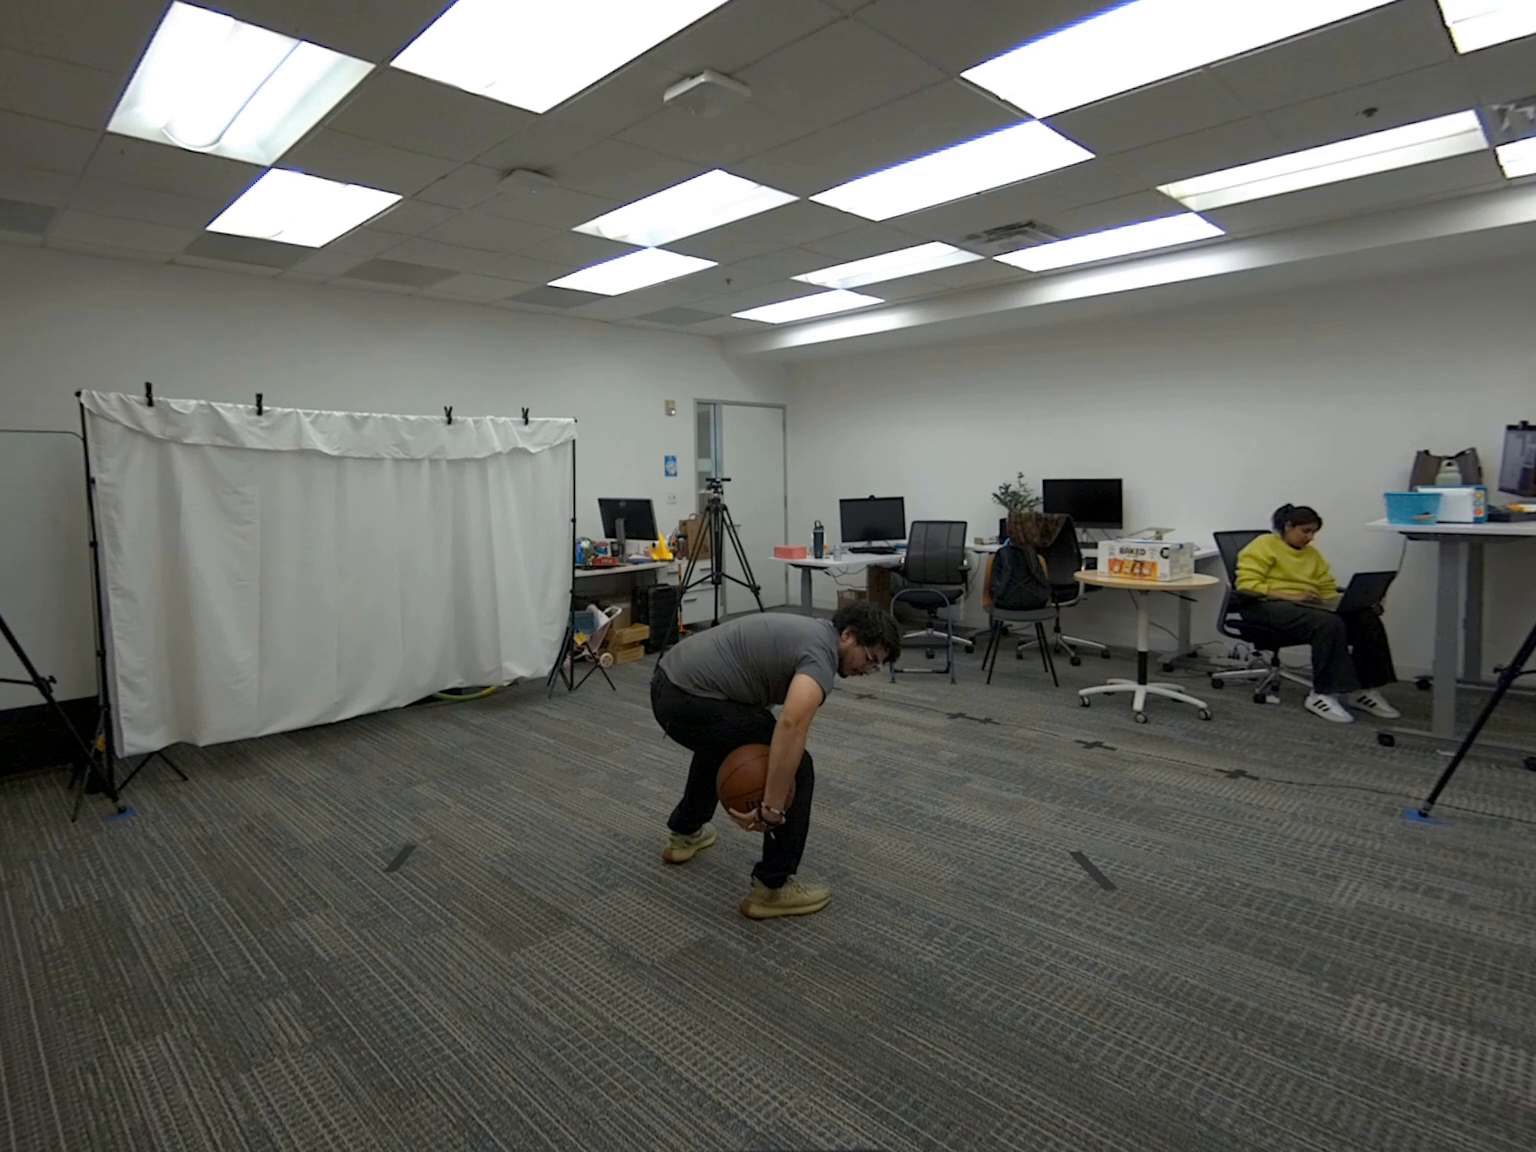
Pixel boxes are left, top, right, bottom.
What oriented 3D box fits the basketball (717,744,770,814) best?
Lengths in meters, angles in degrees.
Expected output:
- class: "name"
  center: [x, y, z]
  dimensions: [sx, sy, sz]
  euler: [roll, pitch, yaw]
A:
- class: "basketball"
  center: [-0.035, 0.636, 2.598]
  dimensions: [0.236, 0.235, 0.237]
  euler: [-1, 5, -2]
